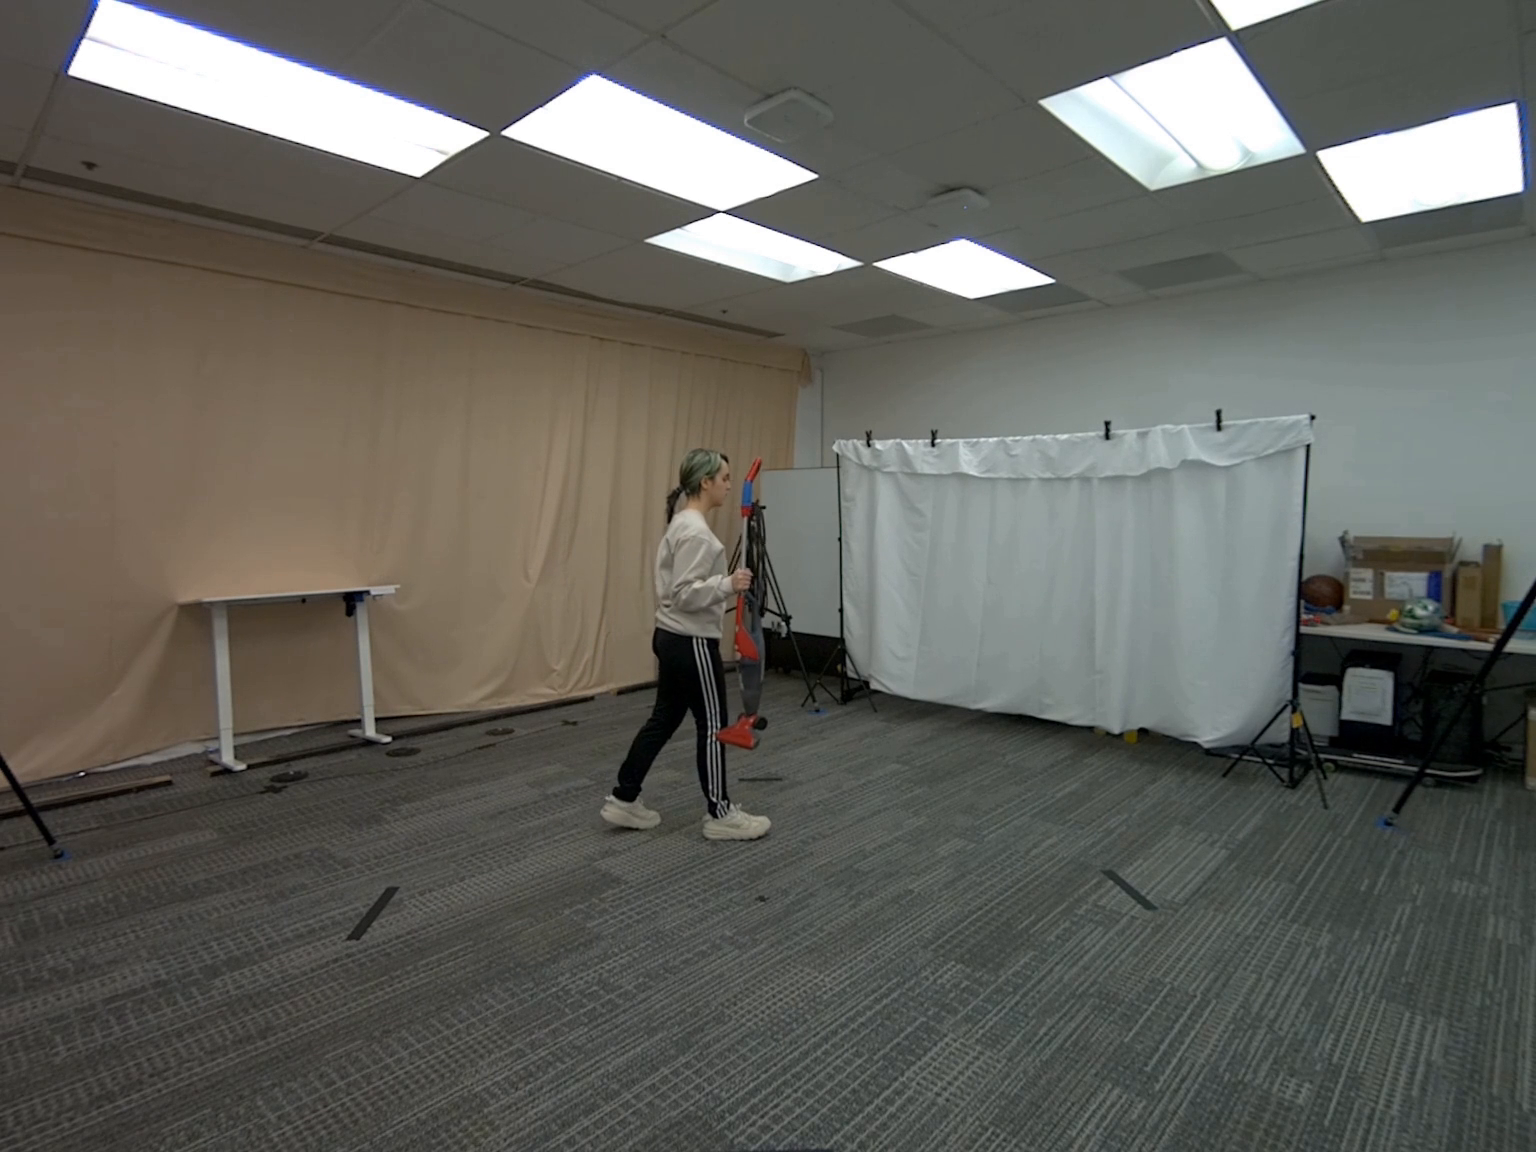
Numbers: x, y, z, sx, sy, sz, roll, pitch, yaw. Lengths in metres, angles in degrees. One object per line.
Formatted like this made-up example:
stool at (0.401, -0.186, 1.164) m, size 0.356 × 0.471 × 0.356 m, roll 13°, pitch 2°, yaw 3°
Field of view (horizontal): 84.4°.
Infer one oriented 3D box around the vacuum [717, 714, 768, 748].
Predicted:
vacuum at (-0.060, 0.075, 3.261) m, size 0.139 × 1.052 × 0.260 m, roll 7°, pitch -6°, yaw -40°
